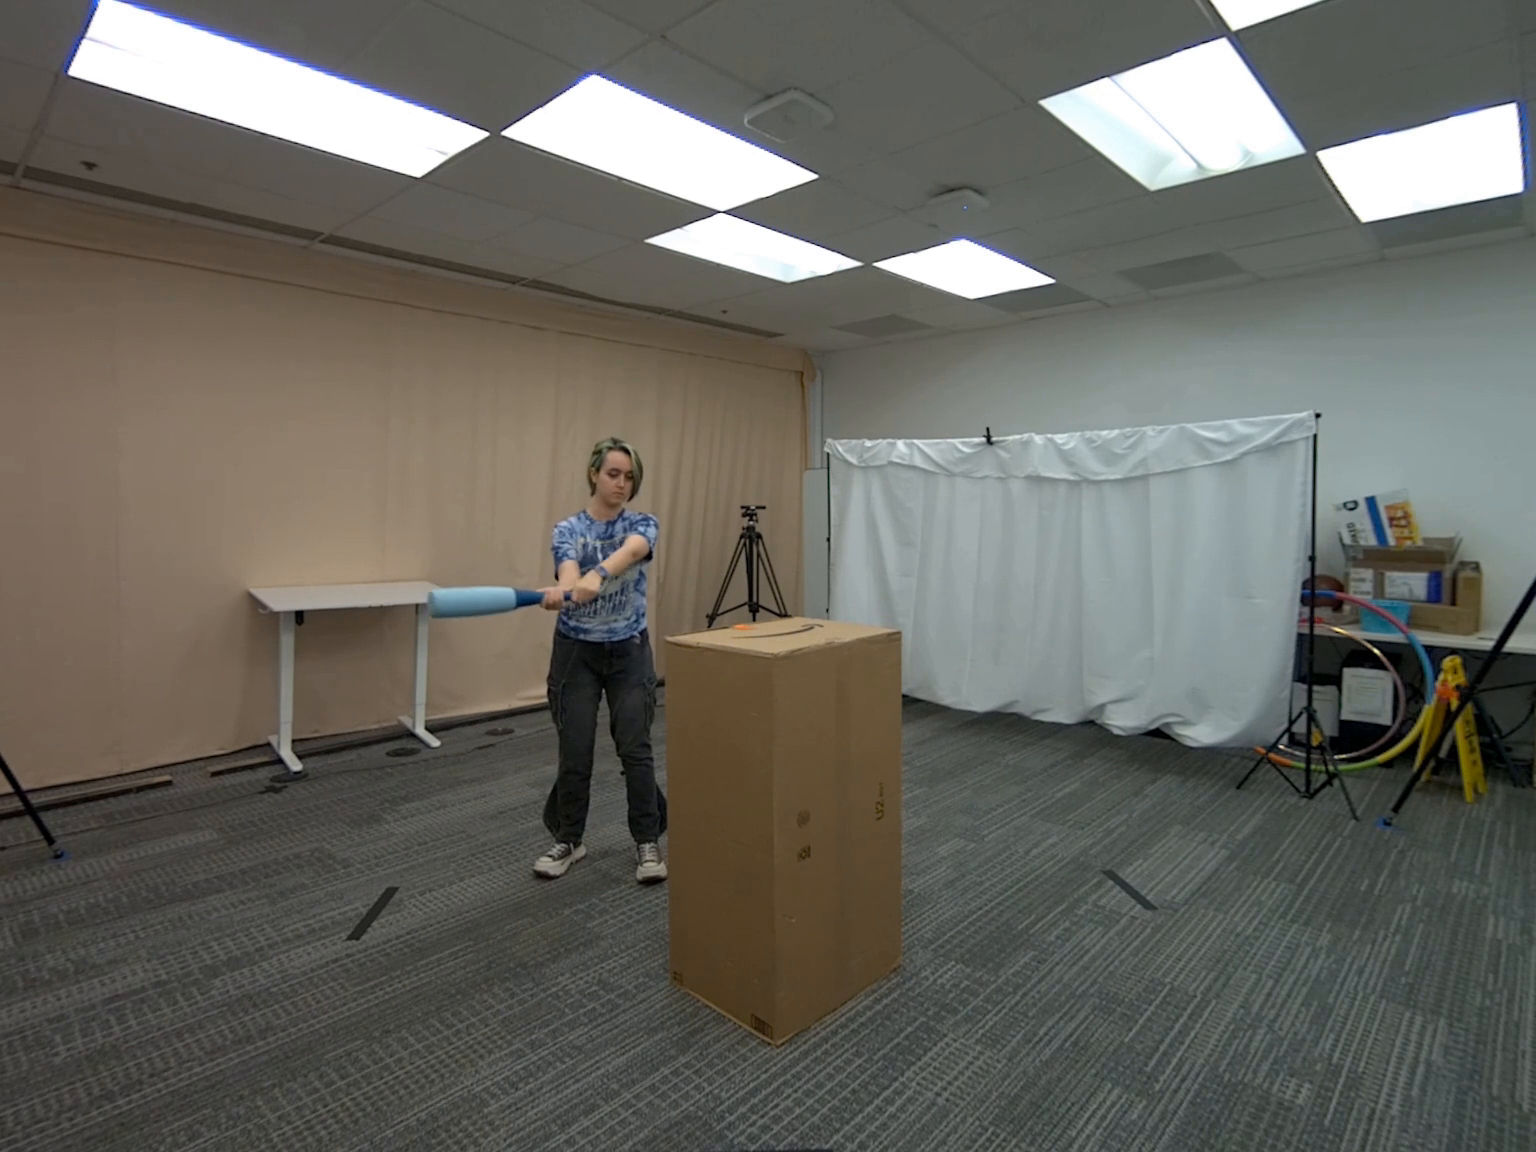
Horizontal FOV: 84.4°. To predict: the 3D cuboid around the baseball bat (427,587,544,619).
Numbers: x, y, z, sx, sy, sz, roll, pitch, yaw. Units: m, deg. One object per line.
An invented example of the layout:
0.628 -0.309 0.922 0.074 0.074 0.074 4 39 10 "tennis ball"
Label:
-0.765 0.060 2.607 0.527 0.089 0.092 -3 5 -35 "baseball bat"
